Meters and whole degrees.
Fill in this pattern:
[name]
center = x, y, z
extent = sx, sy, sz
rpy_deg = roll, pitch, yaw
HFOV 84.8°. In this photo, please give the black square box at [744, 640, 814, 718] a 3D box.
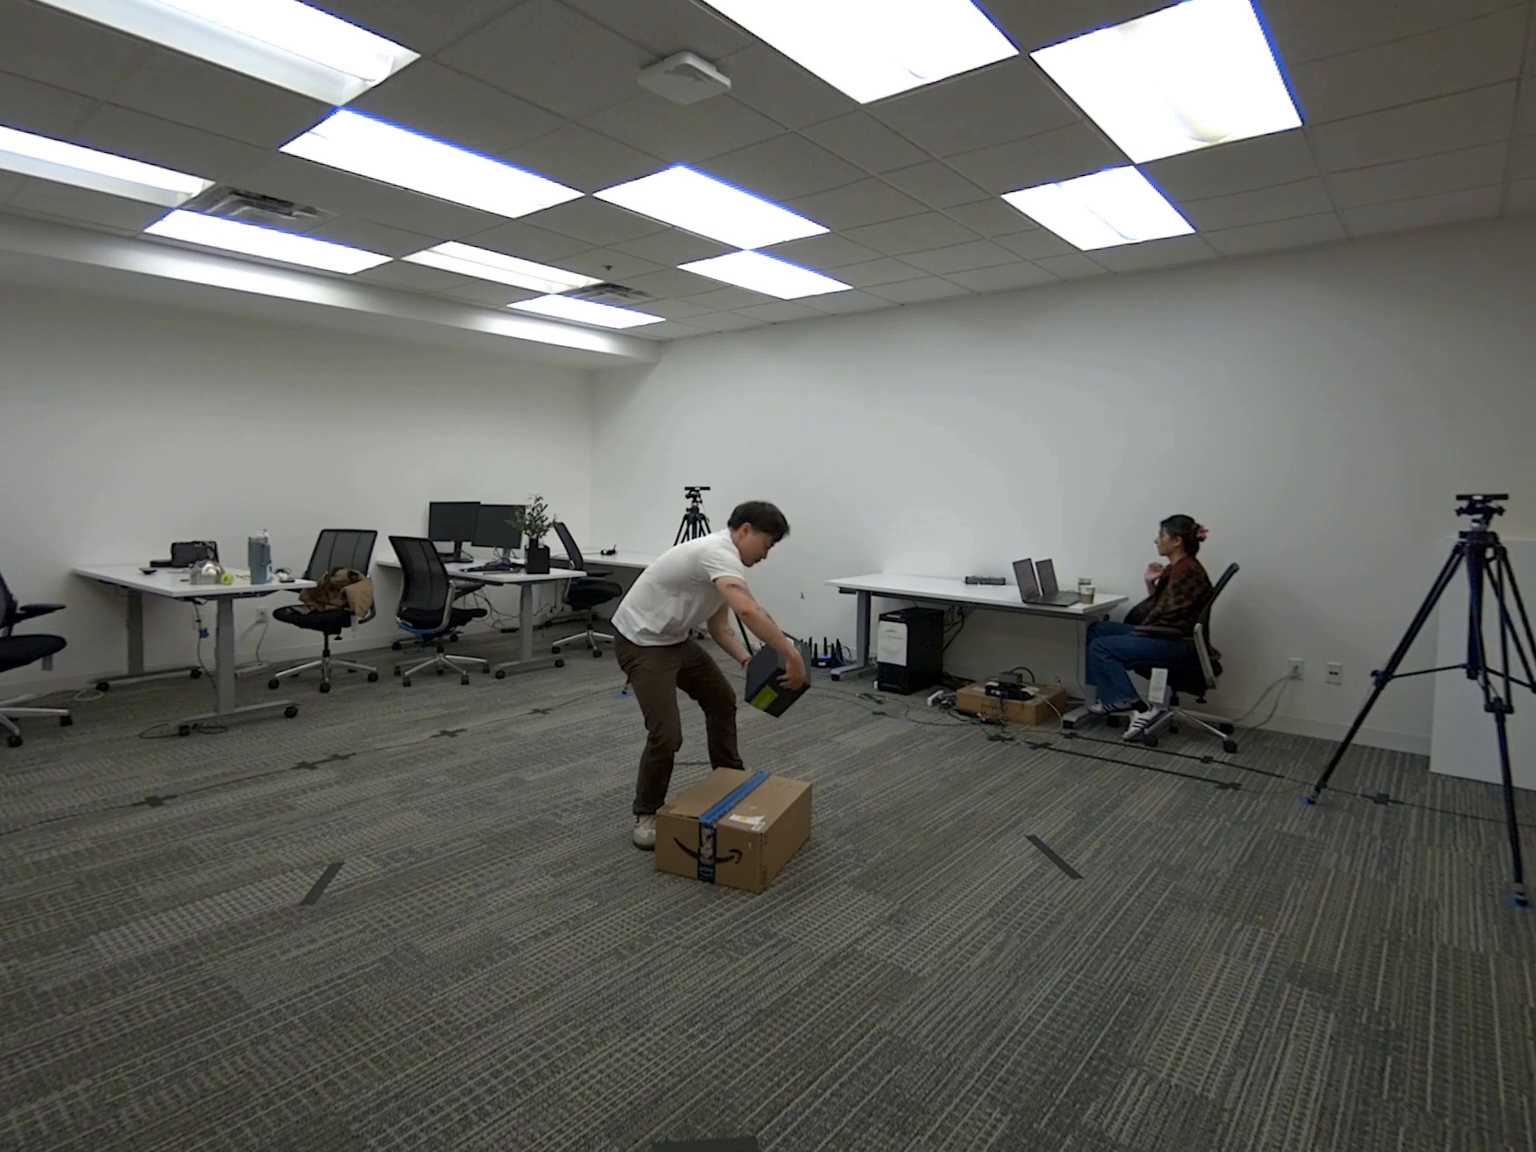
[black square box]
center = 0.031, 0.379, 3.308
extent = 0.153, 0.227, 0.222
rpy_deg = 26, 34, -17
